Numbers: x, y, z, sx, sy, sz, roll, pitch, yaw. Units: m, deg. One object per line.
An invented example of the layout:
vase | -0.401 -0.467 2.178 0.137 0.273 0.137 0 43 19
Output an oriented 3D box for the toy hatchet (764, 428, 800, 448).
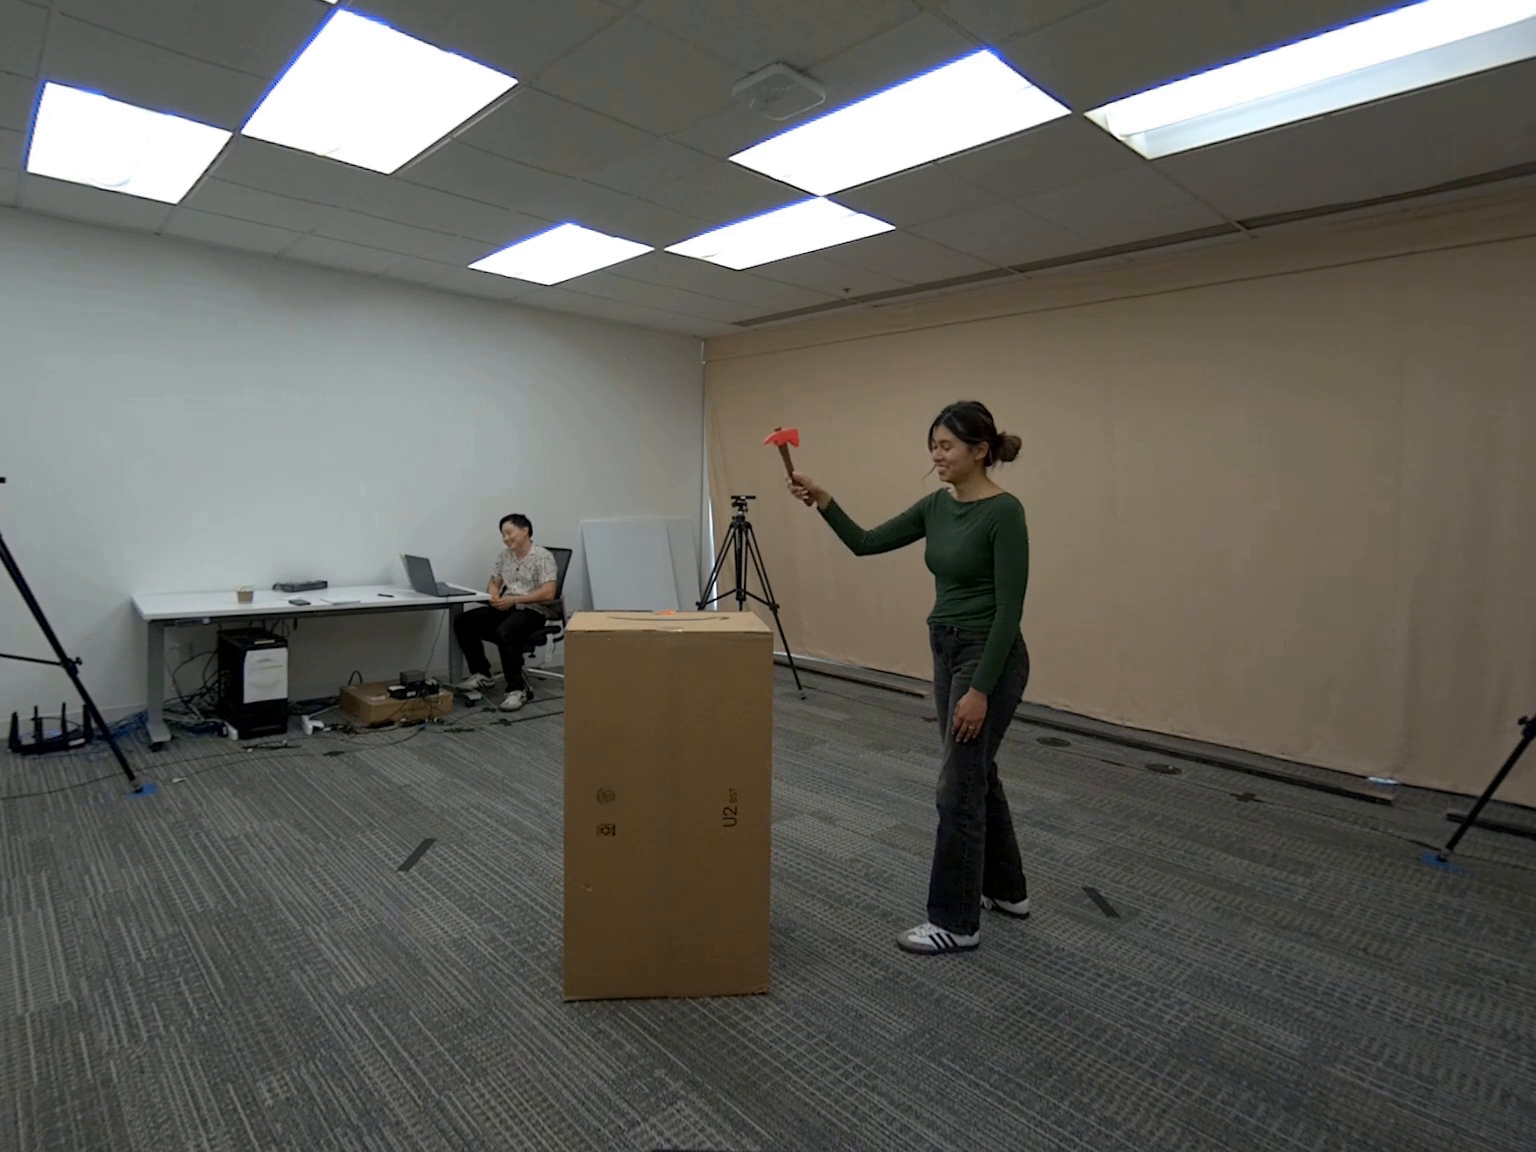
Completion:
toy hatchet | 0.094 -0.356 2.700 0.131 0.265 0.030 -46 20 -23
